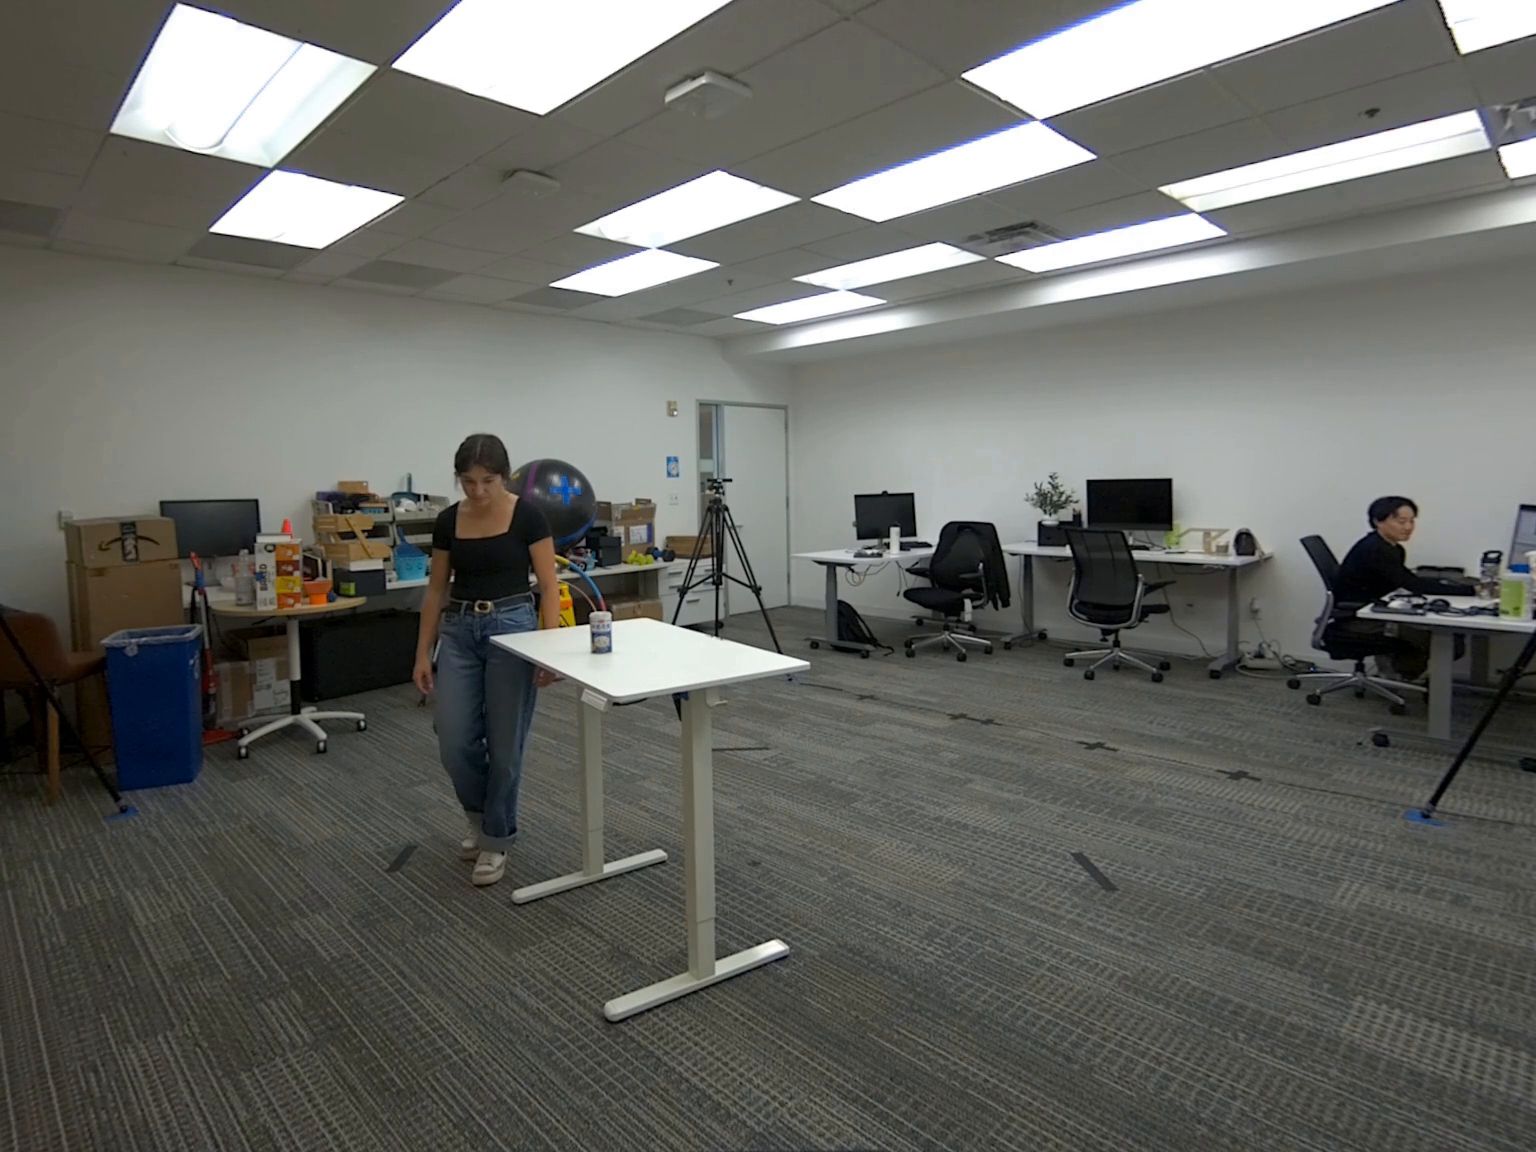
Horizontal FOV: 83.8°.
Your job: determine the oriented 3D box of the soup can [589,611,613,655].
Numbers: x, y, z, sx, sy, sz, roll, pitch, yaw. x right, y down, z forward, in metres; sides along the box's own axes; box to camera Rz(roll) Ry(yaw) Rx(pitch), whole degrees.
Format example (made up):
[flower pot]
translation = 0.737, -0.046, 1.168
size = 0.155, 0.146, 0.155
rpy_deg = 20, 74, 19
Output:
[soup can]
translation = -0.501, 0.172, 2.587
size = 0.067, 0.121, 0.067
rpy_deg = 0, 3, -2
